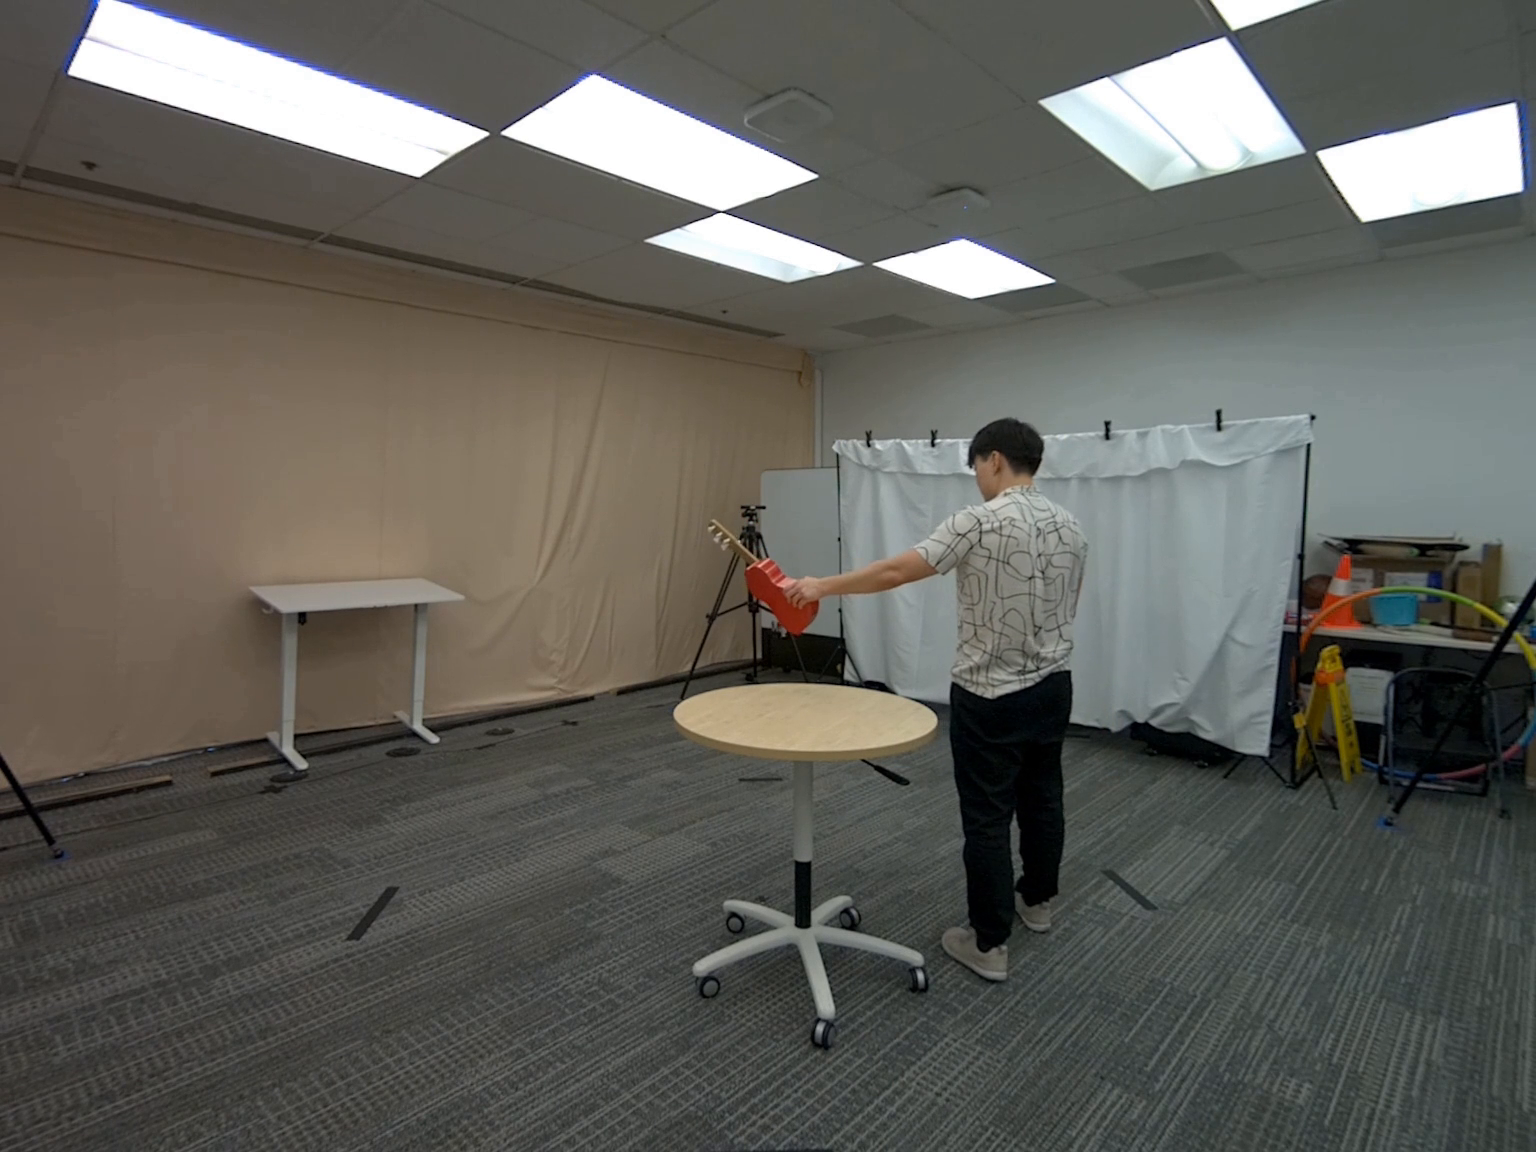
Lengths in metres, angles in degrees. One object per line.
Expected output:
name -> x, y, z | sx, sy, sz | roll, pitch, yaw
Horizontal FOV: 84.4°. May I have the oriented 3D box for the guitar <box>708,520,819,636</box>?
guitar -> -0.031, 0.007, 2.857 | 0.512, 0.190, 0.070 | 36, 52, 25
